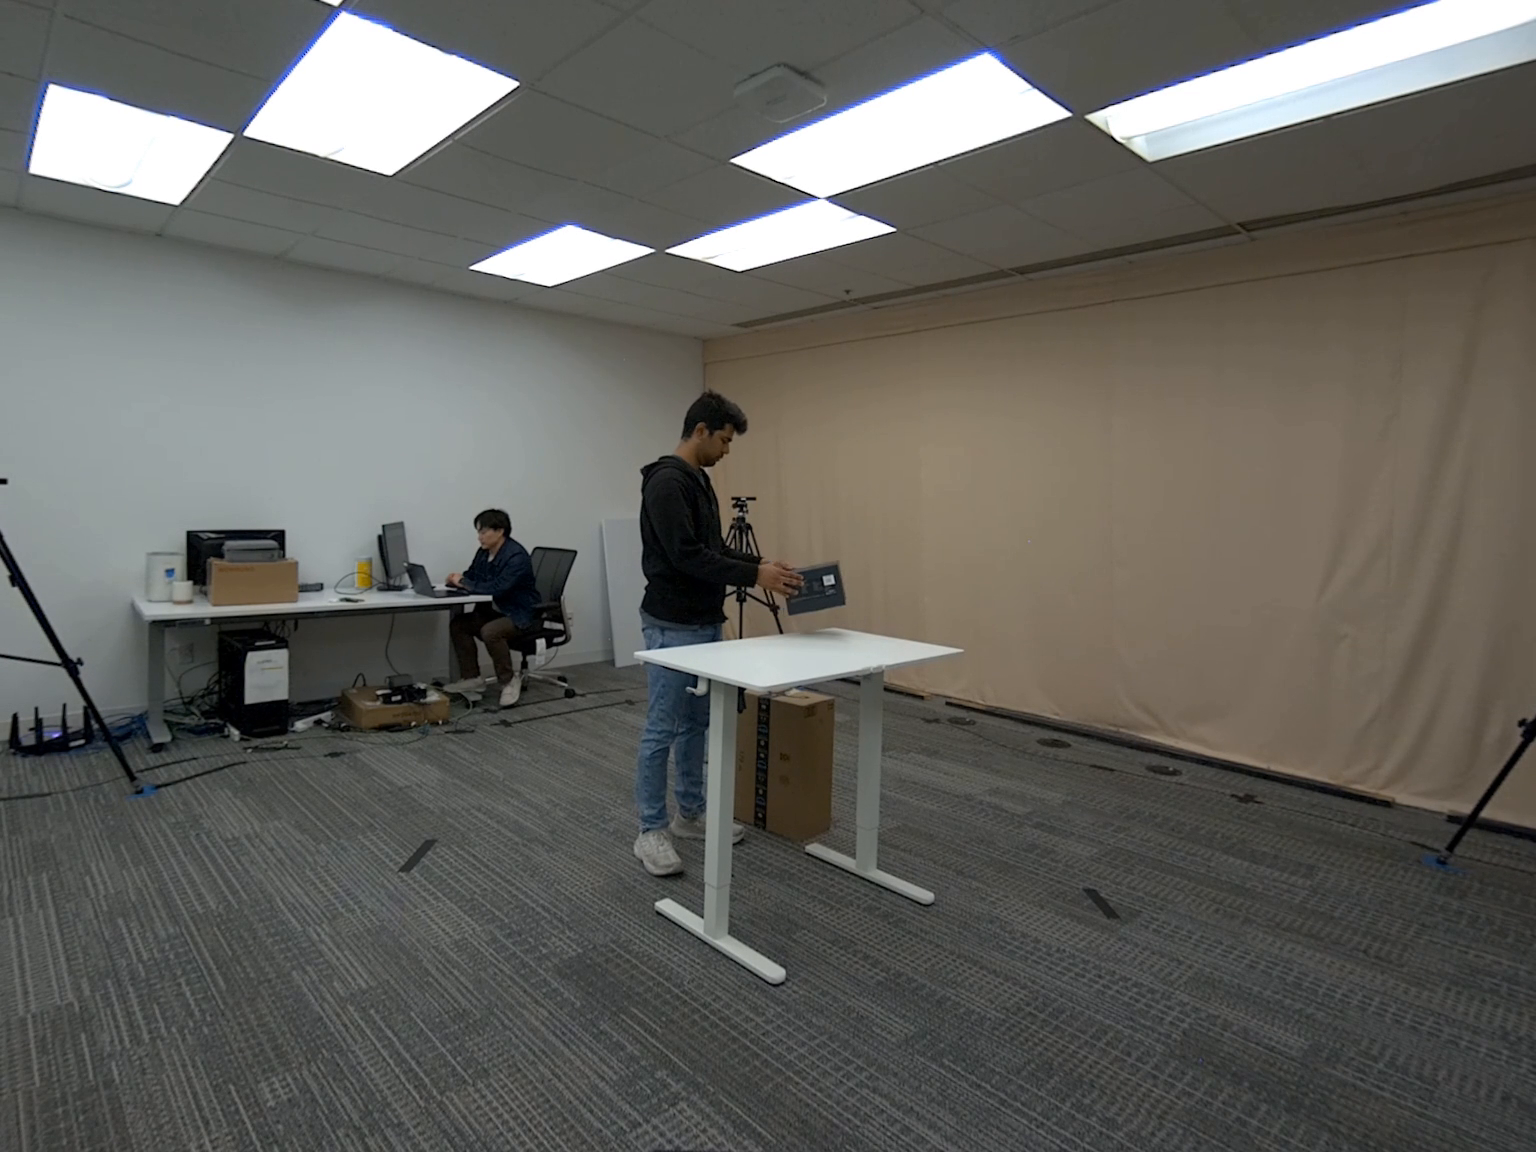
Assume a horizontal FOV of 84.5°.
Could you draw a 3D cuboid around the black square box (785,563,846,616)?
[{"bbox_3d":[0.164,0.044,3.240,0.218,0.155,0.227,-8,3,9],"label":"black square box"}]
